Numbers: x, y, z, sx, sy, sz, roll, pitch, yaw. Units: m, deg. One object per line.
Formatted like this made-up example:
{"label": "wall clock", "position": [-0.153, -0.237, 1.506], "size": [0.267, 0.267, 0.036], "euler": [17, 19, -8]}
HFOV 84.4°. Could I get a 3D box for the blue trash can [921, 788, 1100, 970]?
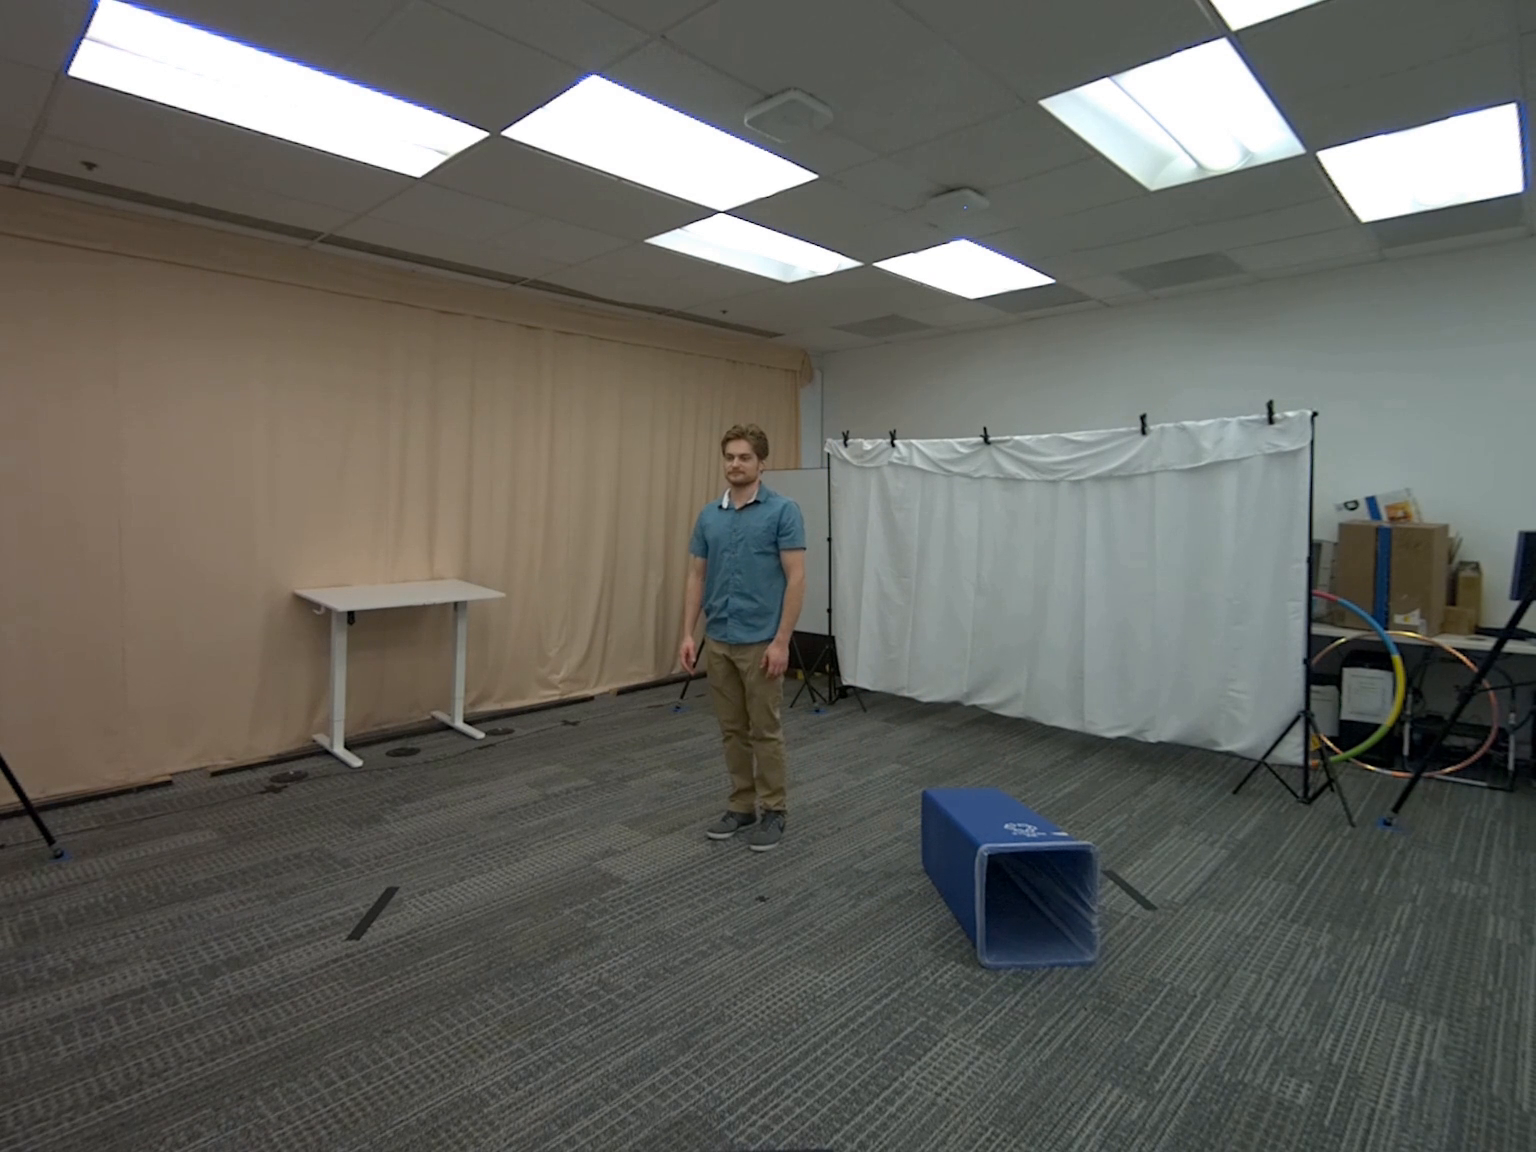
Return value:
{"label": "blue trash can", "position": [0.780, 0.984, 2.881], "size": [0.372, 0.378, 0.718], "euler": [-1, 2, -6]}
